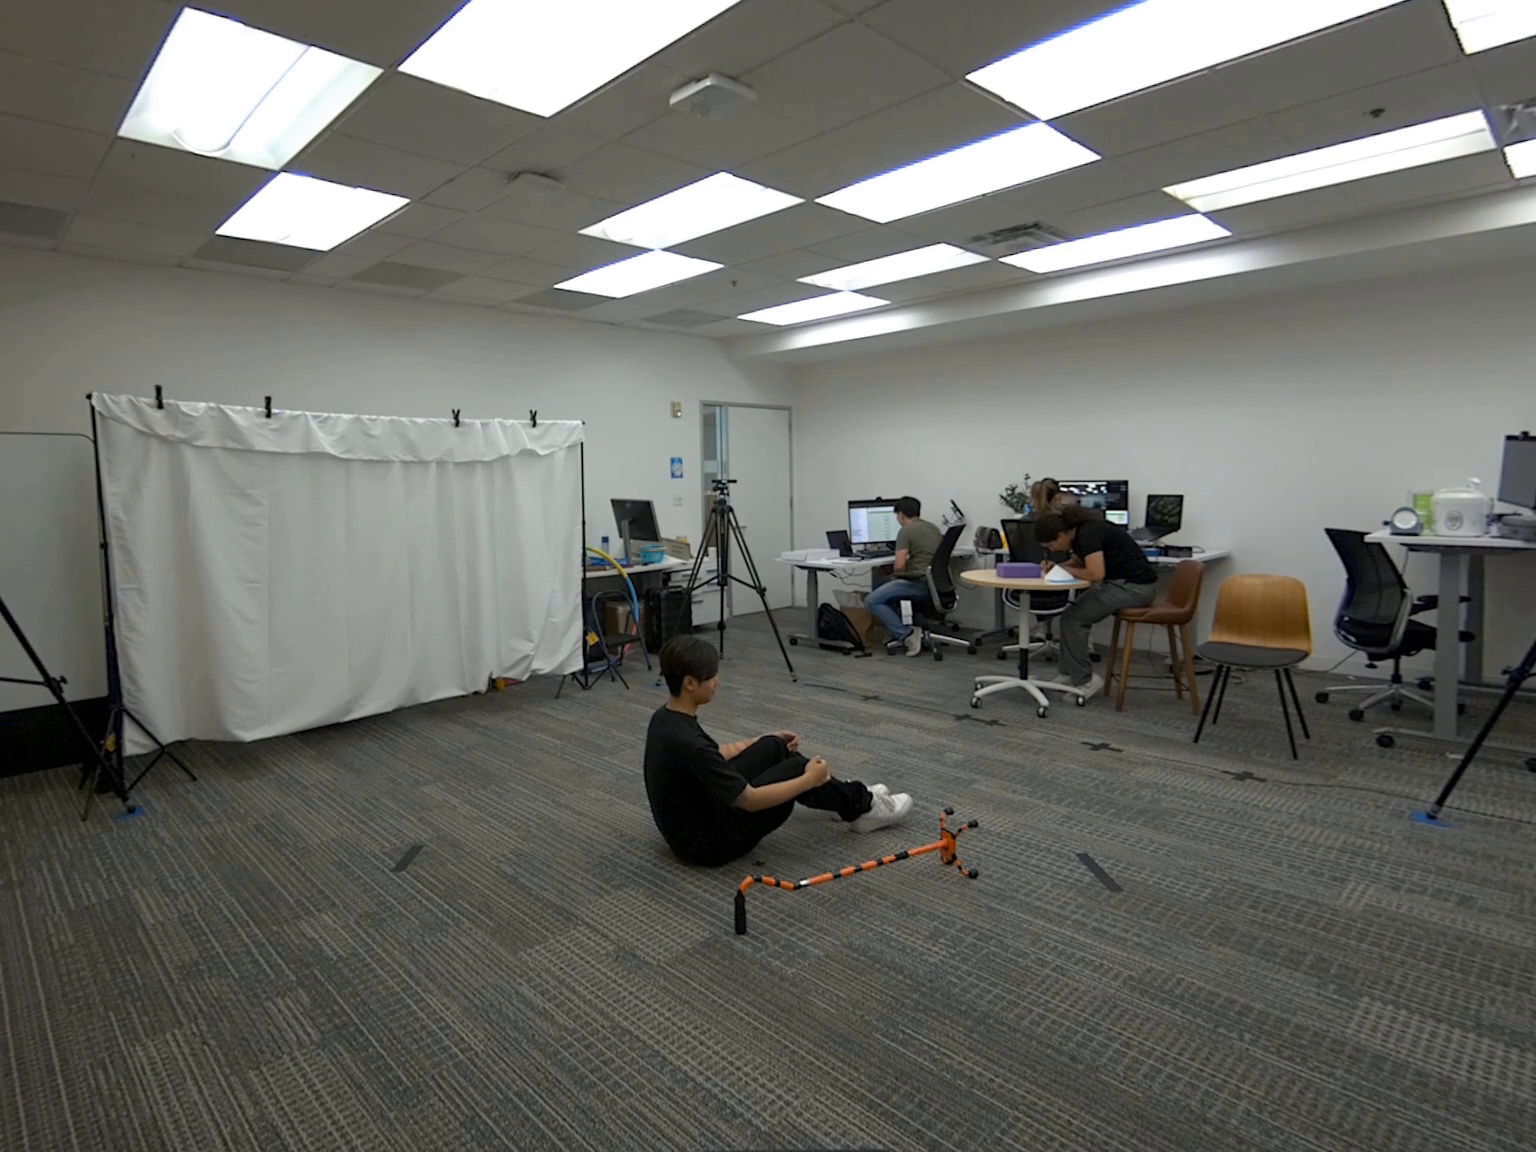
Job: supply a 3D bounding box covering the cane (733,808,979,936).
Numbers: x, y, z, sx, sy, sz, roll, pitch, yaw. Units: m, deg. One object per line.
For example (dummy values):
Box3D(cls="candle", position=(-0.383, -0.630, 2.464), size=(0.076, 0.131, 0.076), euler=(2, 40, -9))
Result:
Box3D(cls="cane", position=(0.298, 0.965, 2.823), size=(0.888, 0.205, 0.156), euler=(-5, 7, -27))
